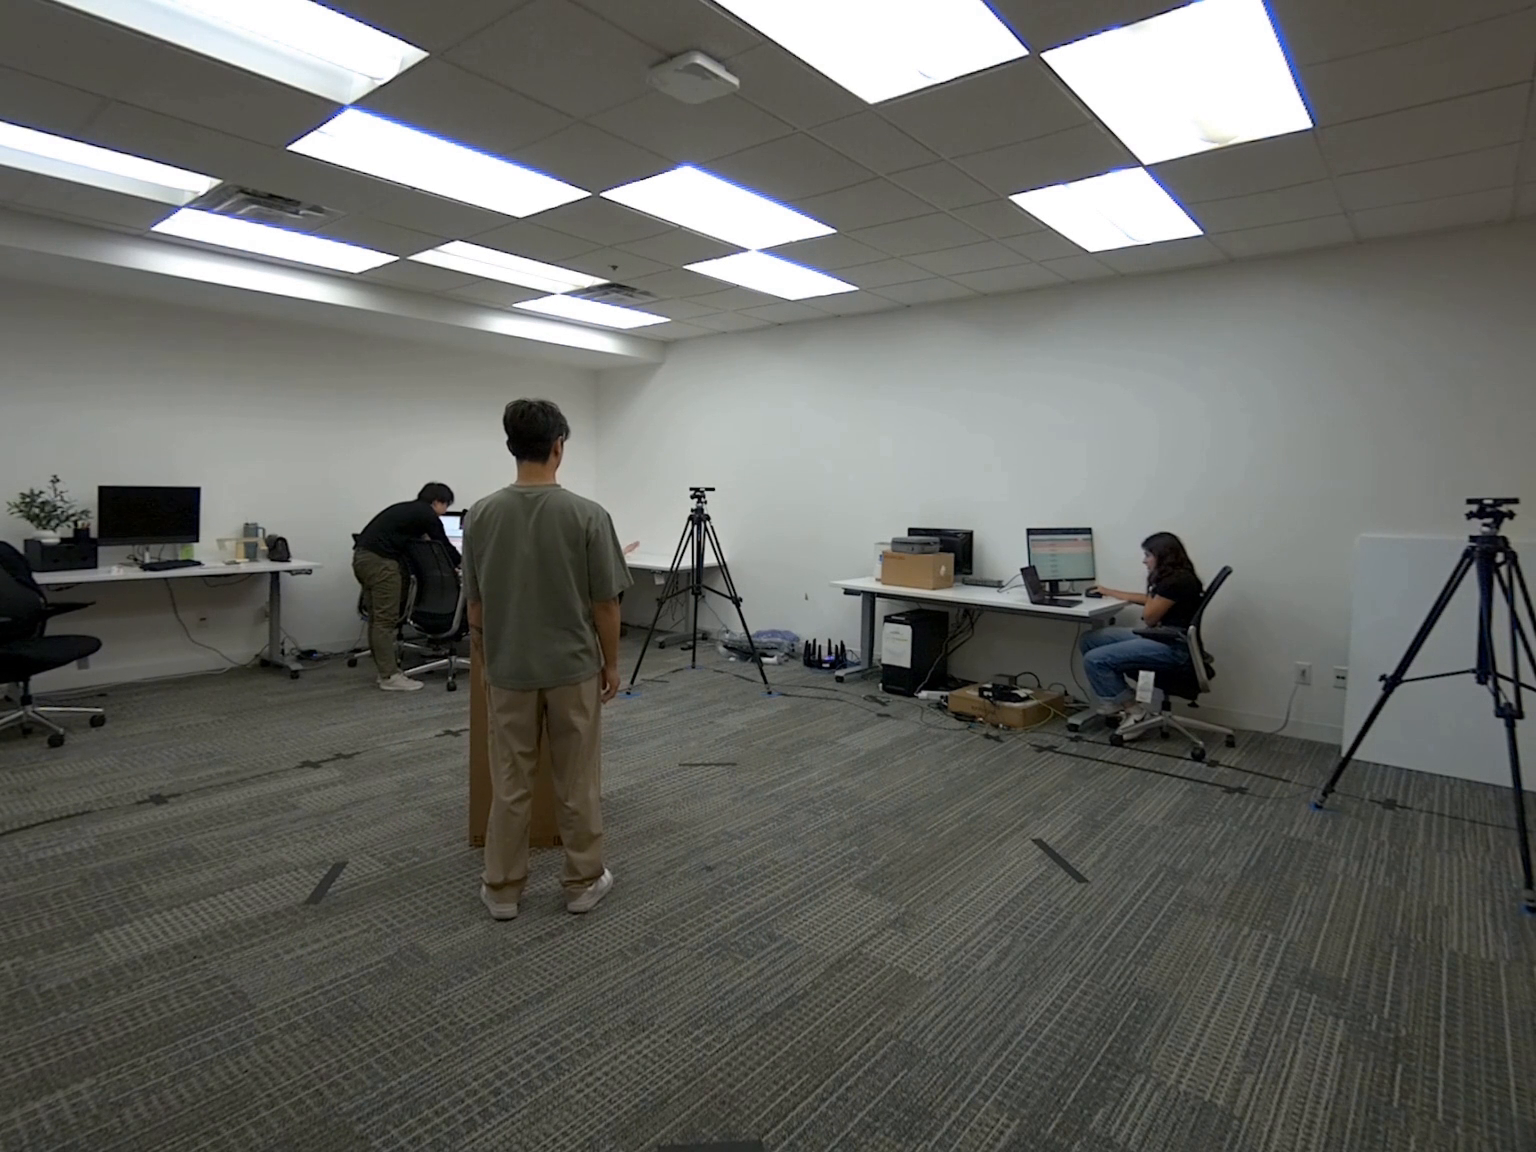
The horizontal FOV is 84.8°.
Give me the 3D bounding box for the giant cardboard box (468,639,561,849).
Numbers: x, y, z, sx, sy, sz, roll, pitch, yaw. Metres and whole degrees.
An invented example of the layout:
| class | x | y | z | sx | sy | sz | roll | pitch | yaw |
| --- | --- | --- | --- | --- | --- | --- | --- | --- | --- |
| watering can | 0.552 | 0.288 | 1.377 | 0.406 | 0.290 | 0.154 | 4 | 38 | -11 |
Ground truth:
| class | x | y | z | sx | sy | sz | roll | pitch | yaw |
| --- | --- | --- | --- | --- | --- | --- | --- | --- | --- |
| giant cardboard box | -0.957 | 0.501 | 3.521 | 0.426 | 1.023 | 0.580 | 2 | 3 | -2 |
